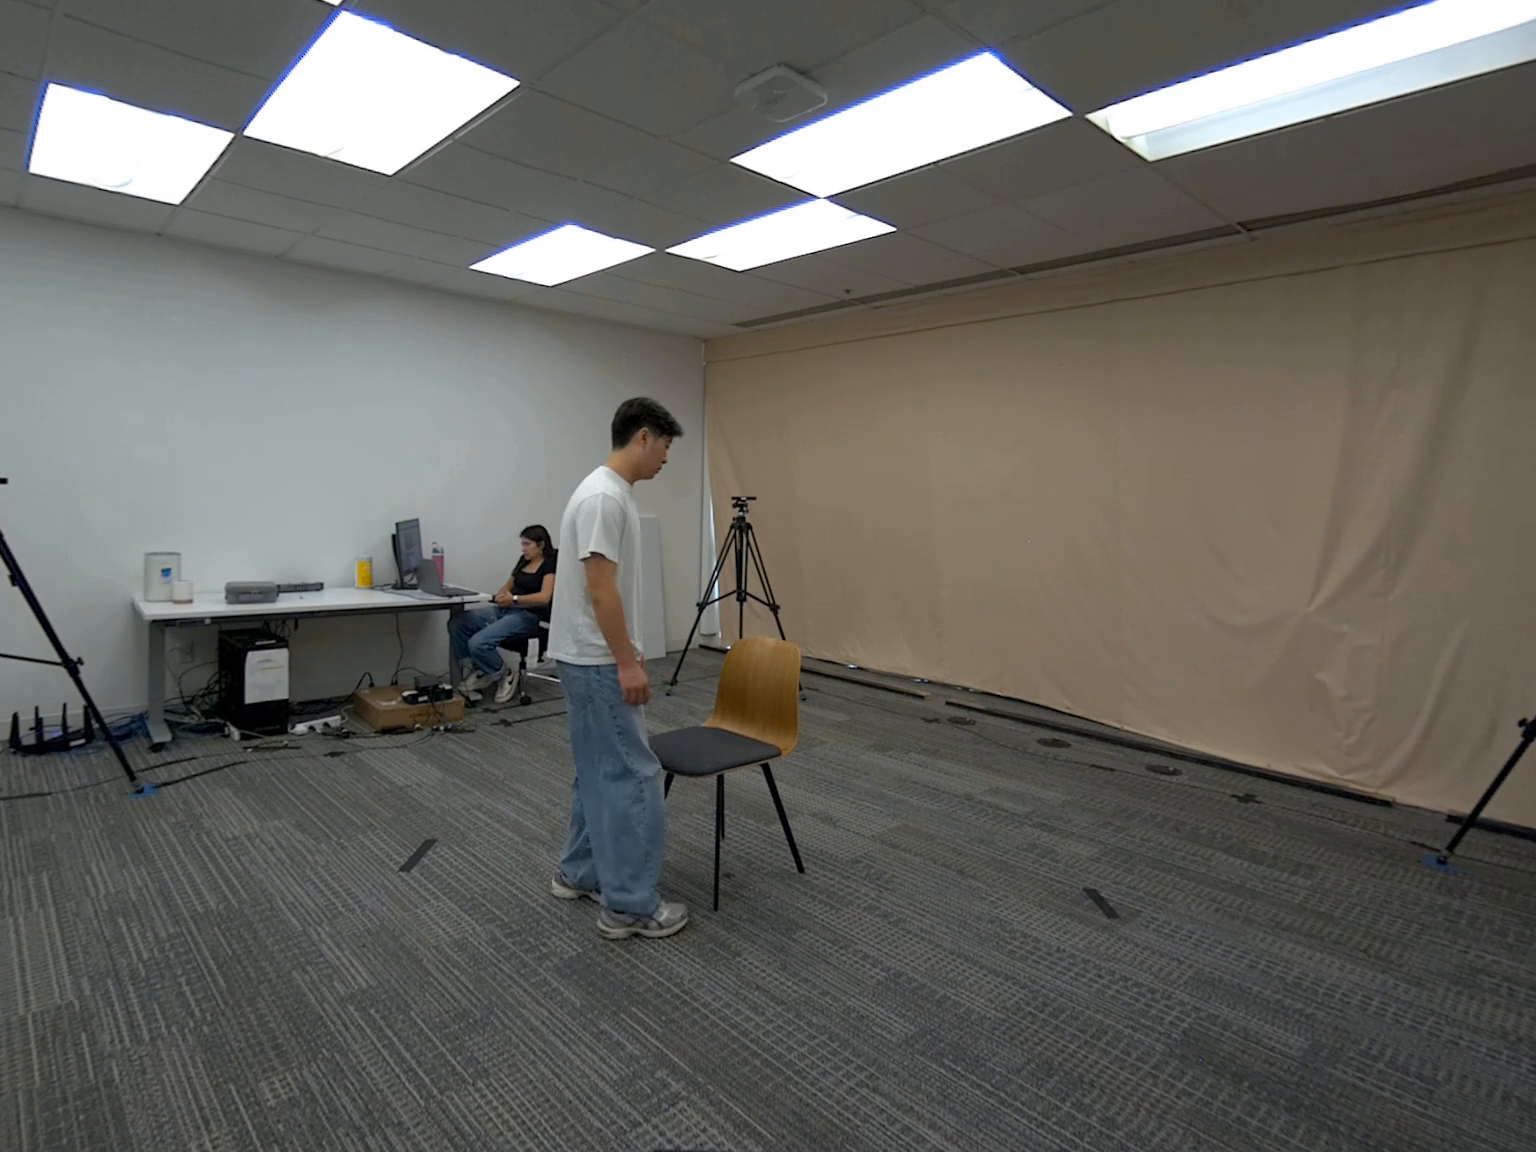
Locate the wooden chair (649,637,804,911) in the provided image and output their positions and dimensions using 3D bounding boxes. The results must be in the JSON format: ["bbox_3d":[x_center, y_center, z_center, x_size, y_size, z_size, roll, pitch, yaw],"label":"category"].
[{"bbox_3d":[-0.180,0.678,3.113,0.510,0.877,0.490,4,0,-45],"label":"wooden chair"}]
